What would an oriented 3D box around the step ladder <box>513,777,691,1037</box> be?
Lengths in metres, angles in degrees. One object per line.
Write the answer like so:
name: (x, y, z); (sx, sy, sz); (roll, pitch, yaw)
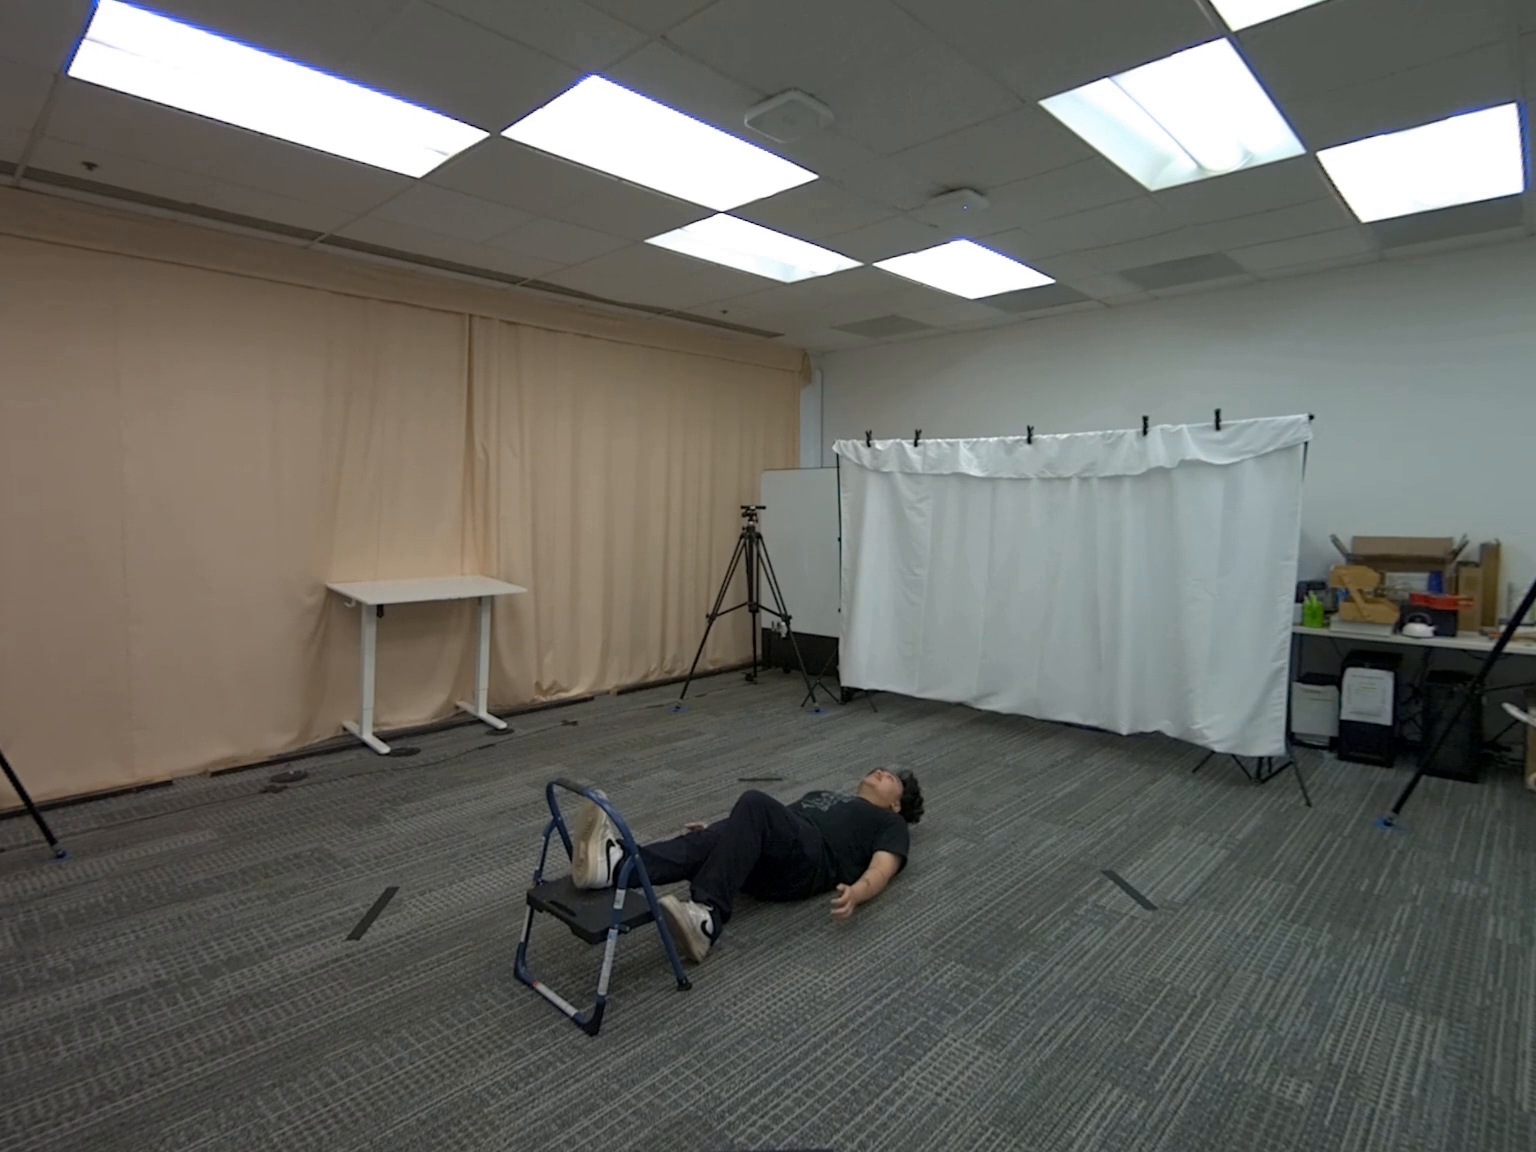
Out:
step ladder: (-0.498, 0.894, 2.450); (0.445, 0.605, 0.338); (3, 4, 44)
